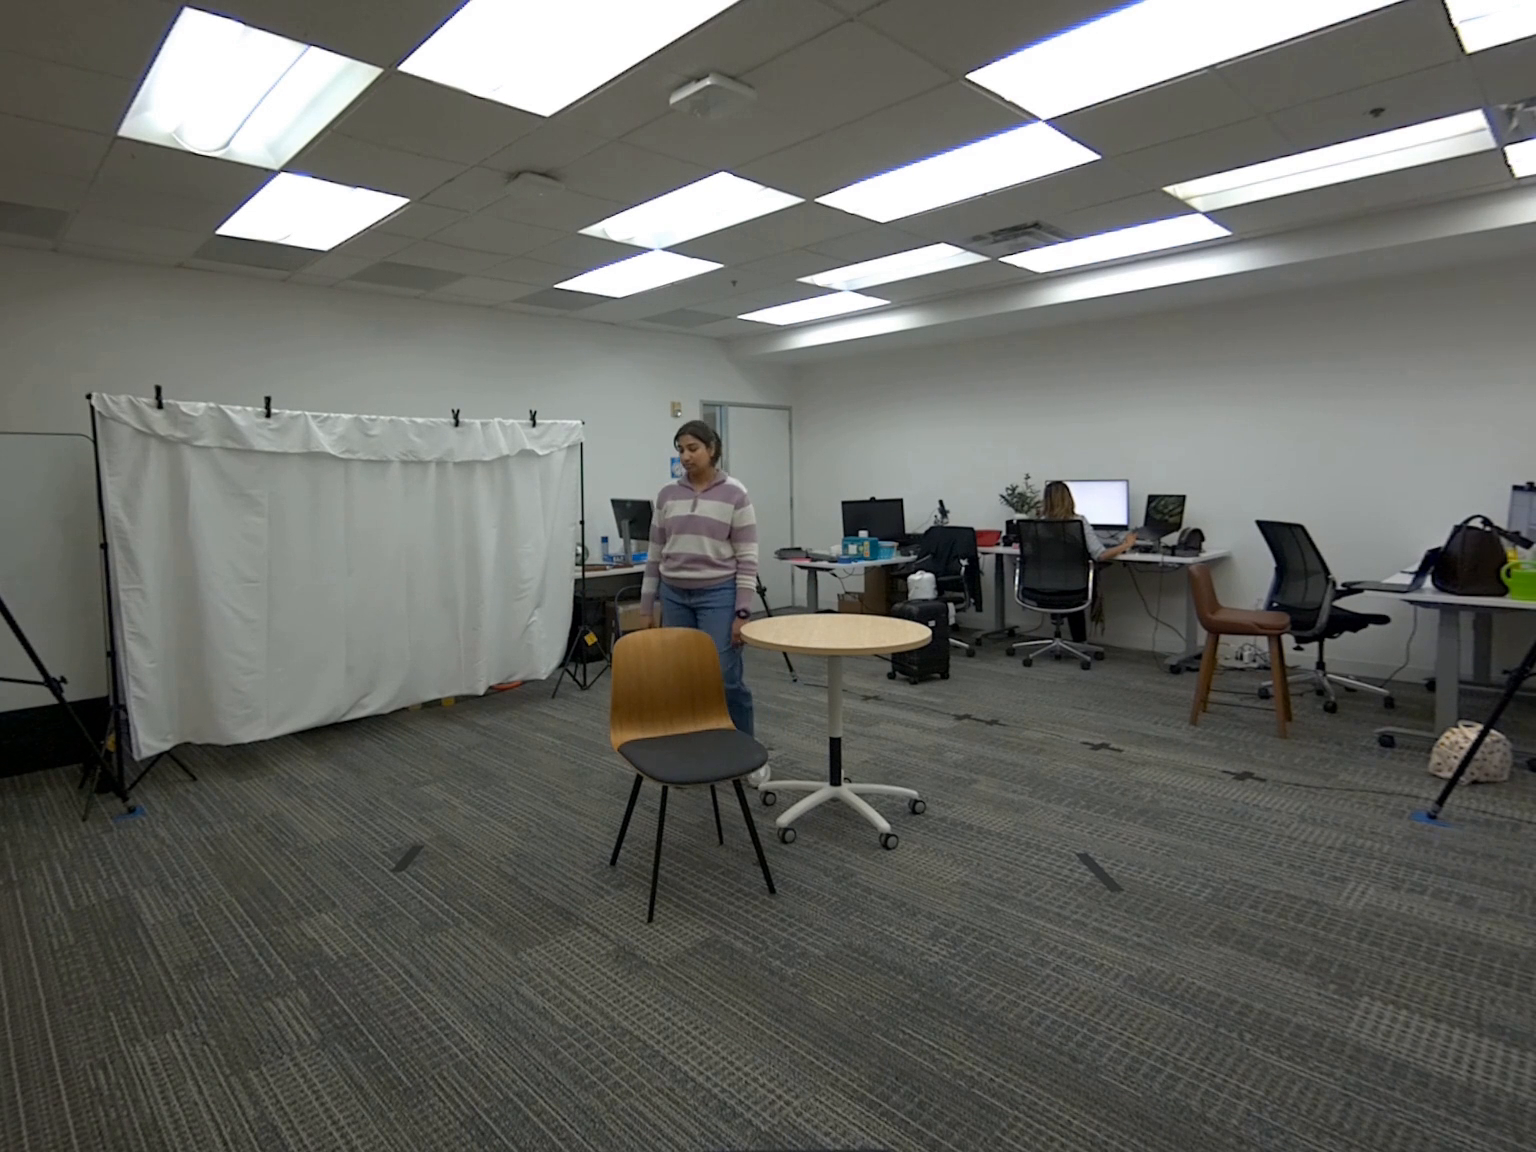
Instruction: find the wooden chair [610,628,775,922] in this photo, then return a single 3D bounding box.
[{"bbox_3d":[-0.280,0.645,2.955,0.468,0.877,0.534,-2,0,-25],"label":"wooden chair"}]
